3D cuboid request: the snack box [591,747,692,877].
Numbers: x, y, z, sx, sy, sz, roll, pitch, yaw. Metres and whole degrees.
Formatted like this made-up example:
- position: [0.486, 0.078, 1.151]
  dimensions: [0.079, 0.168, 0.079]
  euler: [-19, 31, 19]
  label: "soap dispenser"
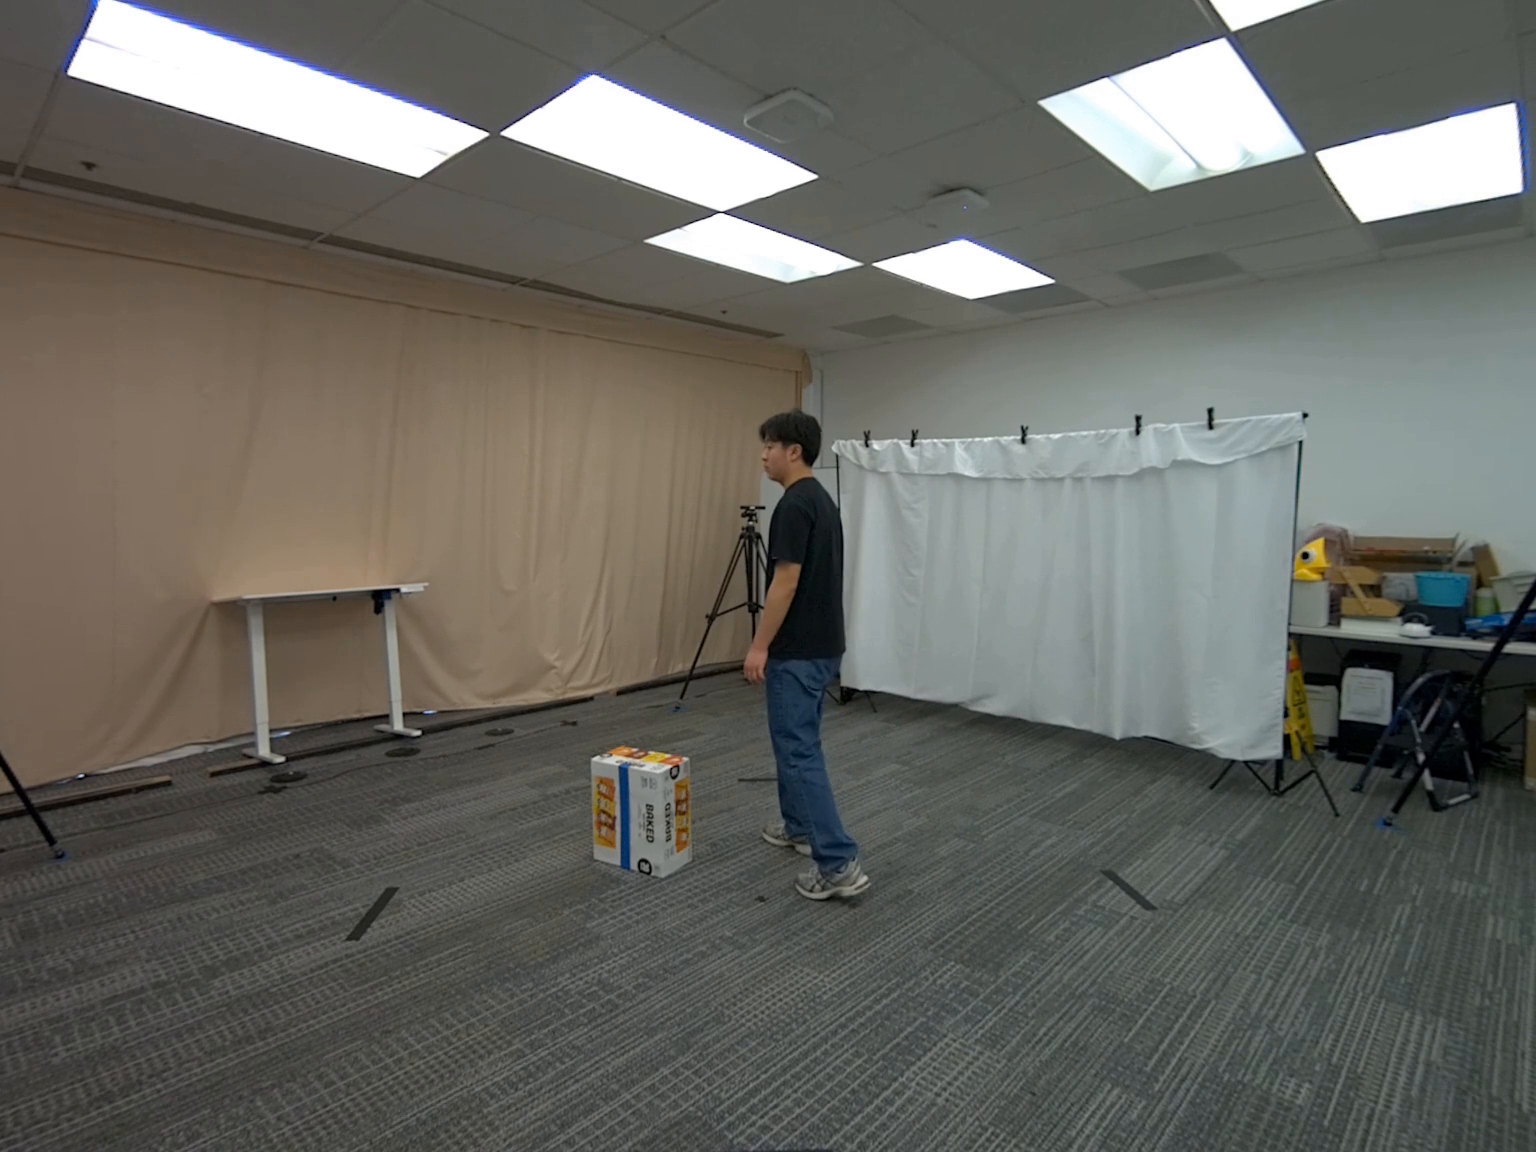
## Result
- position: [-0.496, 0.920, 3.315]
  dimensions: [0.350, 0.404, 0.200]
  euler: [1, 4, 32]
  label: "snack box"
